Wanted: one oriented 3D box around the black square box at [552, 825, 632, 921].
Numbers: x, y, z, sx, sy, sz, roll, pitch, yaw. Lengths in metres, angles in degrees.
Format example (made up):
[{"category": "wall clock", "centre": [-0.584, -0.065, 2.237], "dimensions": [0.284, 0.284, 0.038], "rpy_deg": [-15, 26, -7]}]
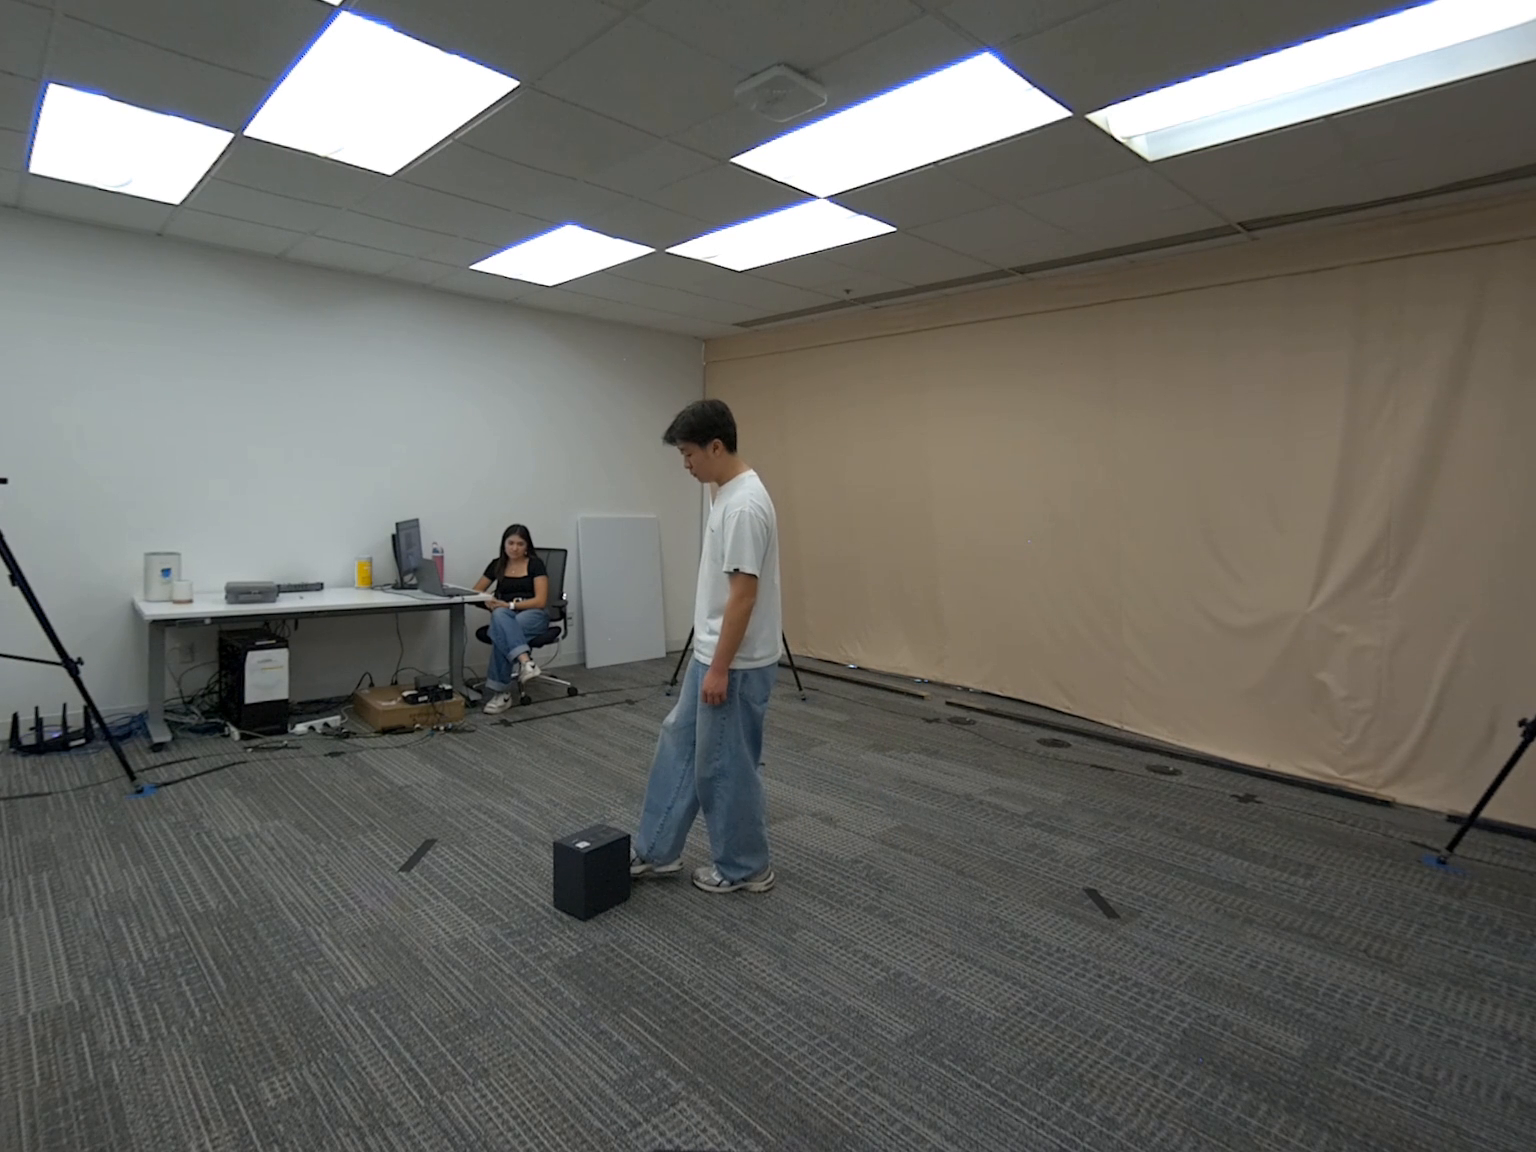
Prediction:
[{"category": "black square box", "centre": [-0.600, 0.998, 2.867], "dimensions": [0.160, 0.227, 0.212], "rpy_deg": [4, 5, 36]}]
